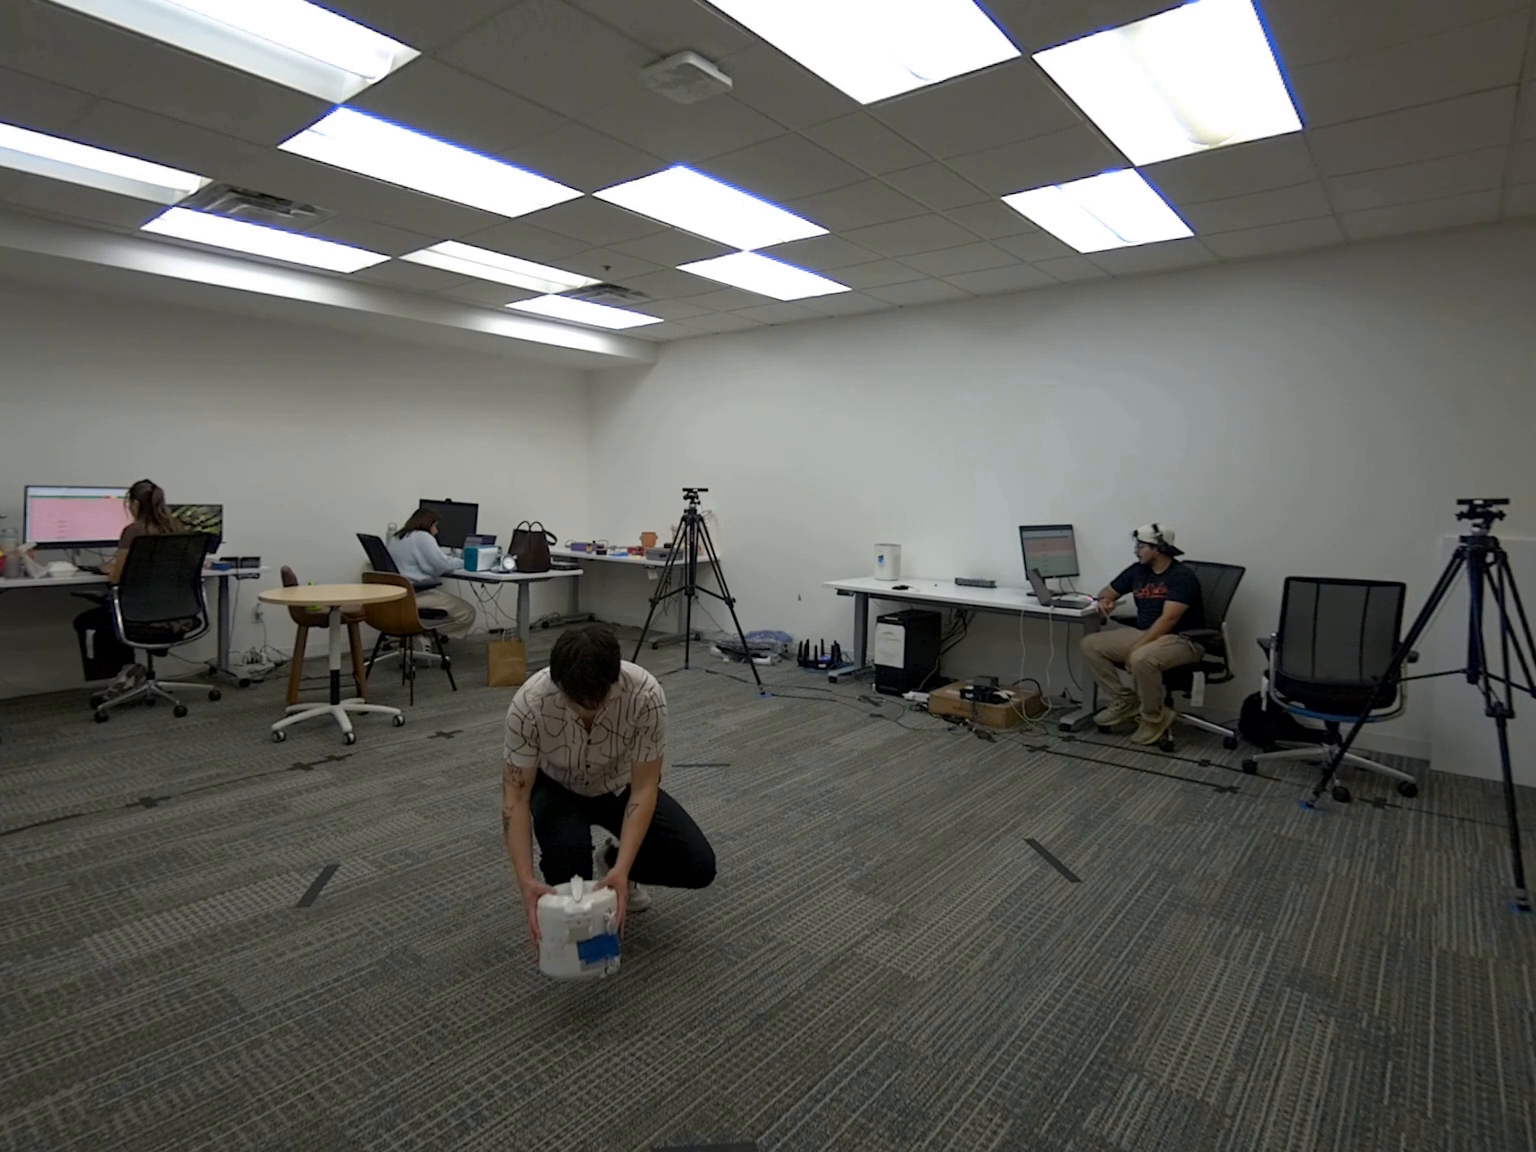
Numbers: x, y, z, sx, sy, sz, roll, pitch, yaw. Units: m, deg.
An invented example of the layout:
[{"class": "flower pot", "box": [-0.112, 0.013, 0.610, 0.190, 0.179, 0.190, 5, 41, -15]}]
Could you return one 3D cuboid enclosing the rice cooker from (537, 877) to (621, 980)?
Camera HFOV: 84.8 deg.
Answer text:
[{"class": "rice cooker", "box": [-0.510, 0.917, 2.250, 0.215, 0.234, 0.222, 0, -5, -11]}]
